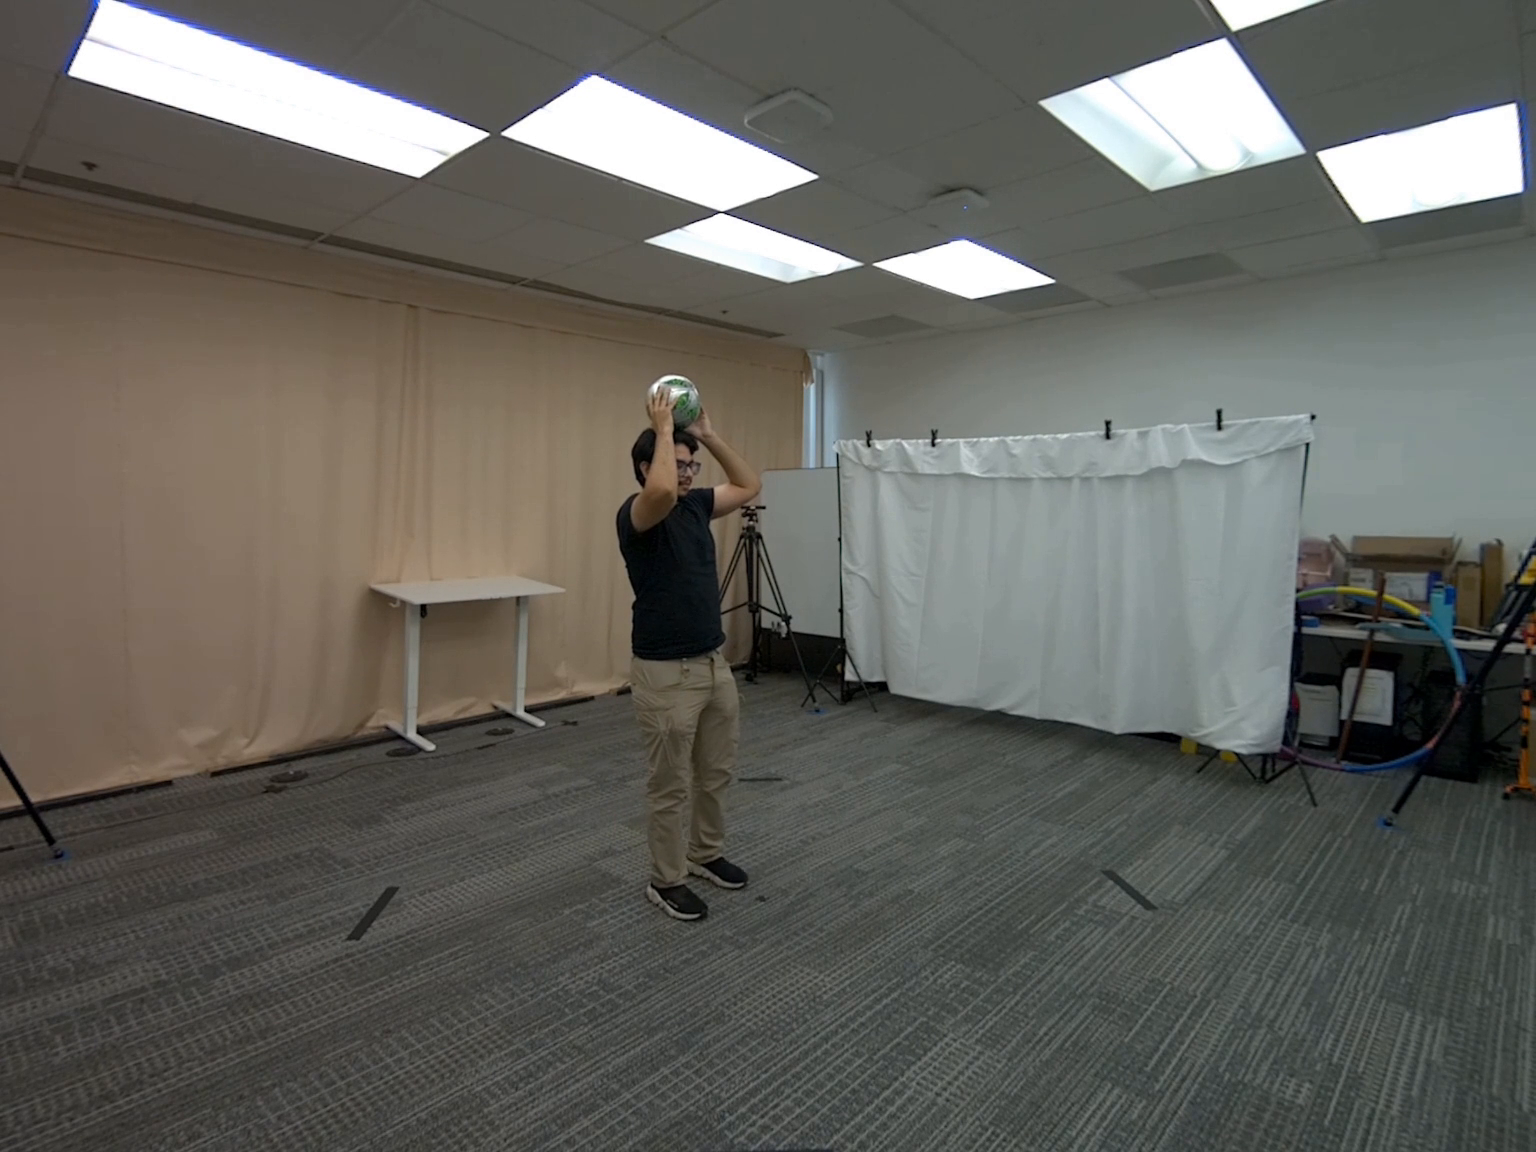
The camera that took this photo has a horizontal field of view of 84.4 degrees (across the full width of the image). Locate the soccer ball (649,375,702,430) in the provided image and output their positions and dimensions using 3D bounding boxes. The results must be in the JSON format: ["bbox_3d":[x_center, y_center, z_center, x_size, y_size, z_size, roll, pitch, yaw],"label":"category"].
[{"bbox_3d":[-0.313,-0.573,2.818,0.187,0.187,0.188,0,4,-2],"label":"soccer ball"}]
